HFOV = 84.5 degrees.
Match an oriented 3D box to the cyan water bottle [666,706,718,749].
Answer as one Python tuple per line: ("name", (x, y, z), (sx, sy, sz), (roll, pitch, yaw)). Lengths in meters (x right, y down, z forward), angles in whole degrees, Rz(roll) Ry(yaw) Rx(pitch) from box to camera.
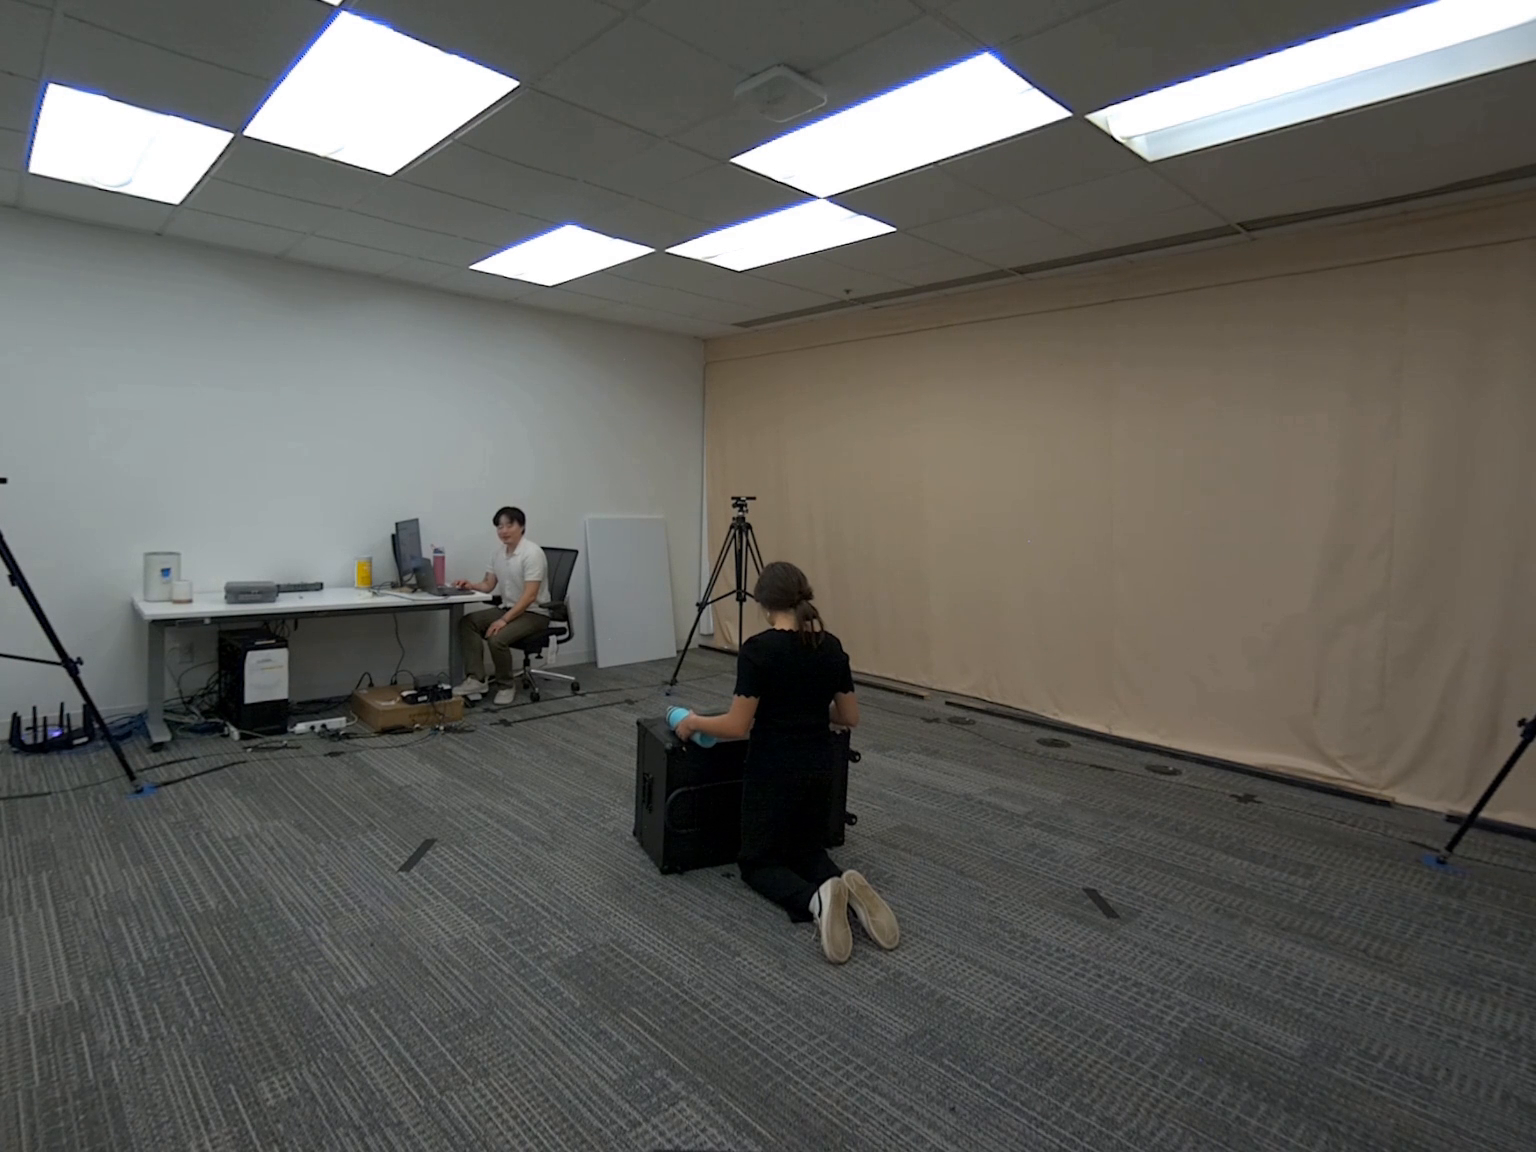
("cyan water bottle", (-0.308, 0.561, 3.181), (0.090, 0.092, 0.291), (-1, 9, -35))
